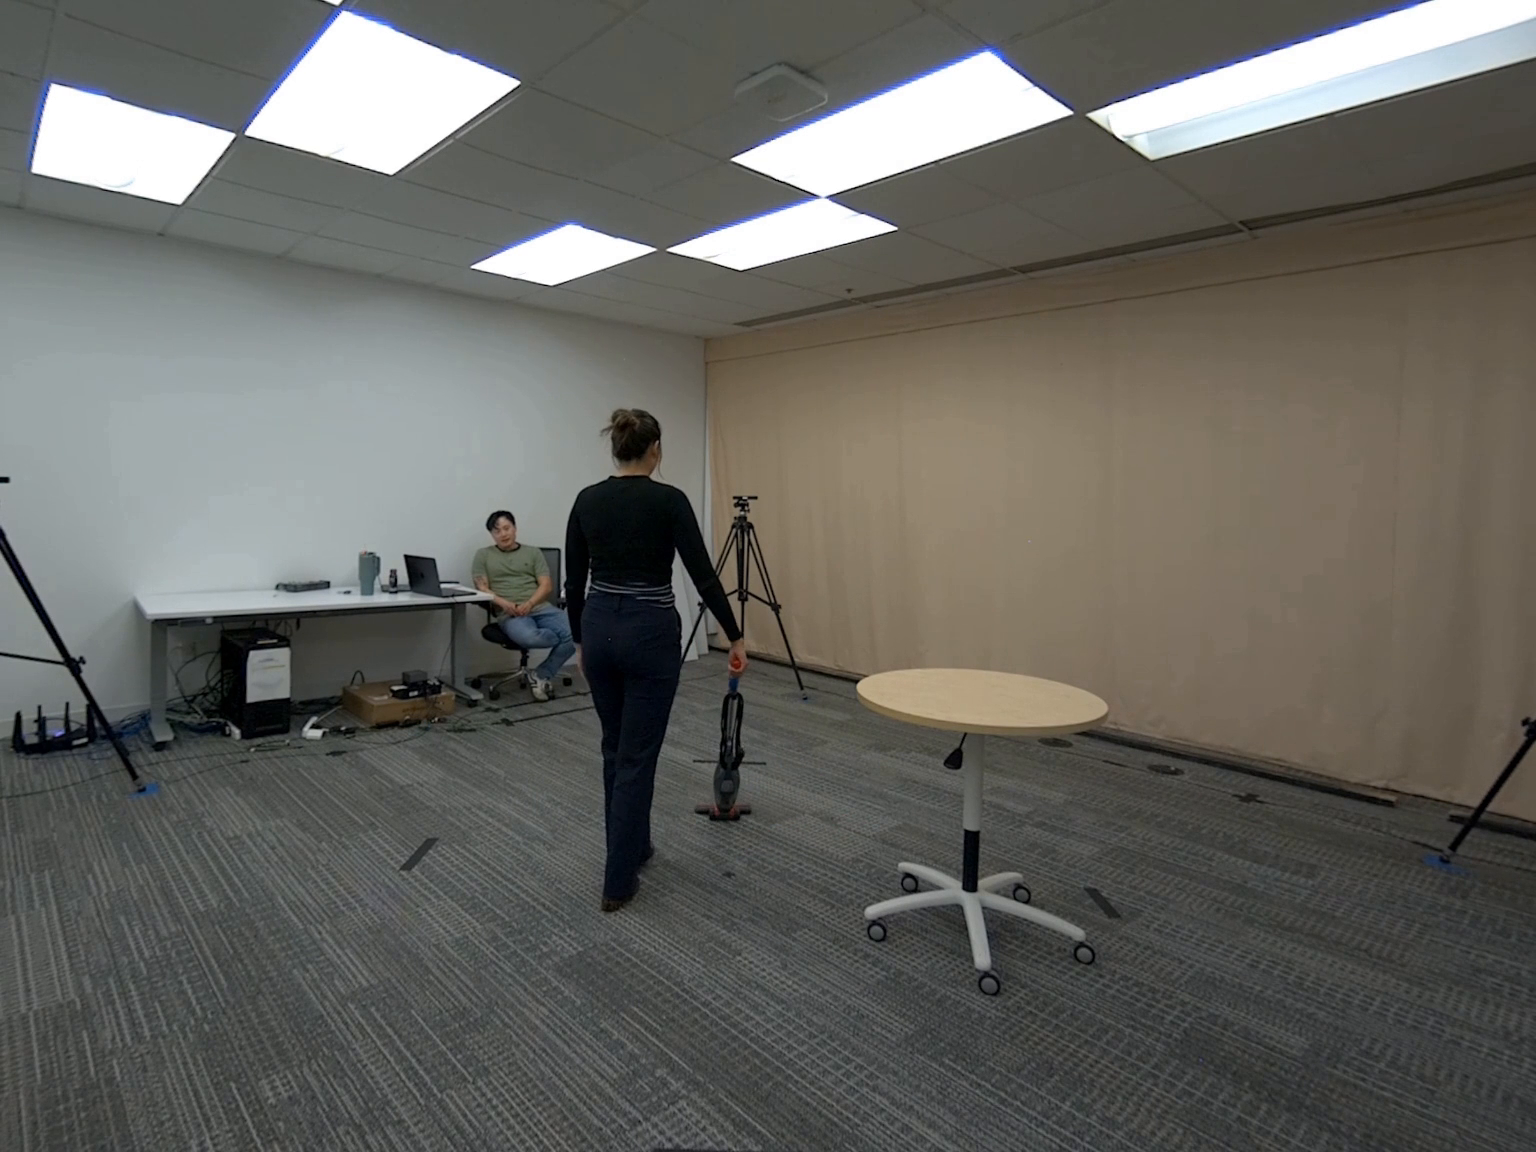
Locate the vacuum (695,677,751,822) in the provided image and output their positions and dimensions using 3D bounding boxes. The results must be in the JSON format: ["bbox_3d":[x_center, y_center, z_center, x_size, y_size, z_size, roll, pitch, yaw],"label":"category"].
[{"bbox_3d":[-0.161,0.680,3.331,0.252,1.028,0.147,5,46,-1],"label":"vacuum"}]
